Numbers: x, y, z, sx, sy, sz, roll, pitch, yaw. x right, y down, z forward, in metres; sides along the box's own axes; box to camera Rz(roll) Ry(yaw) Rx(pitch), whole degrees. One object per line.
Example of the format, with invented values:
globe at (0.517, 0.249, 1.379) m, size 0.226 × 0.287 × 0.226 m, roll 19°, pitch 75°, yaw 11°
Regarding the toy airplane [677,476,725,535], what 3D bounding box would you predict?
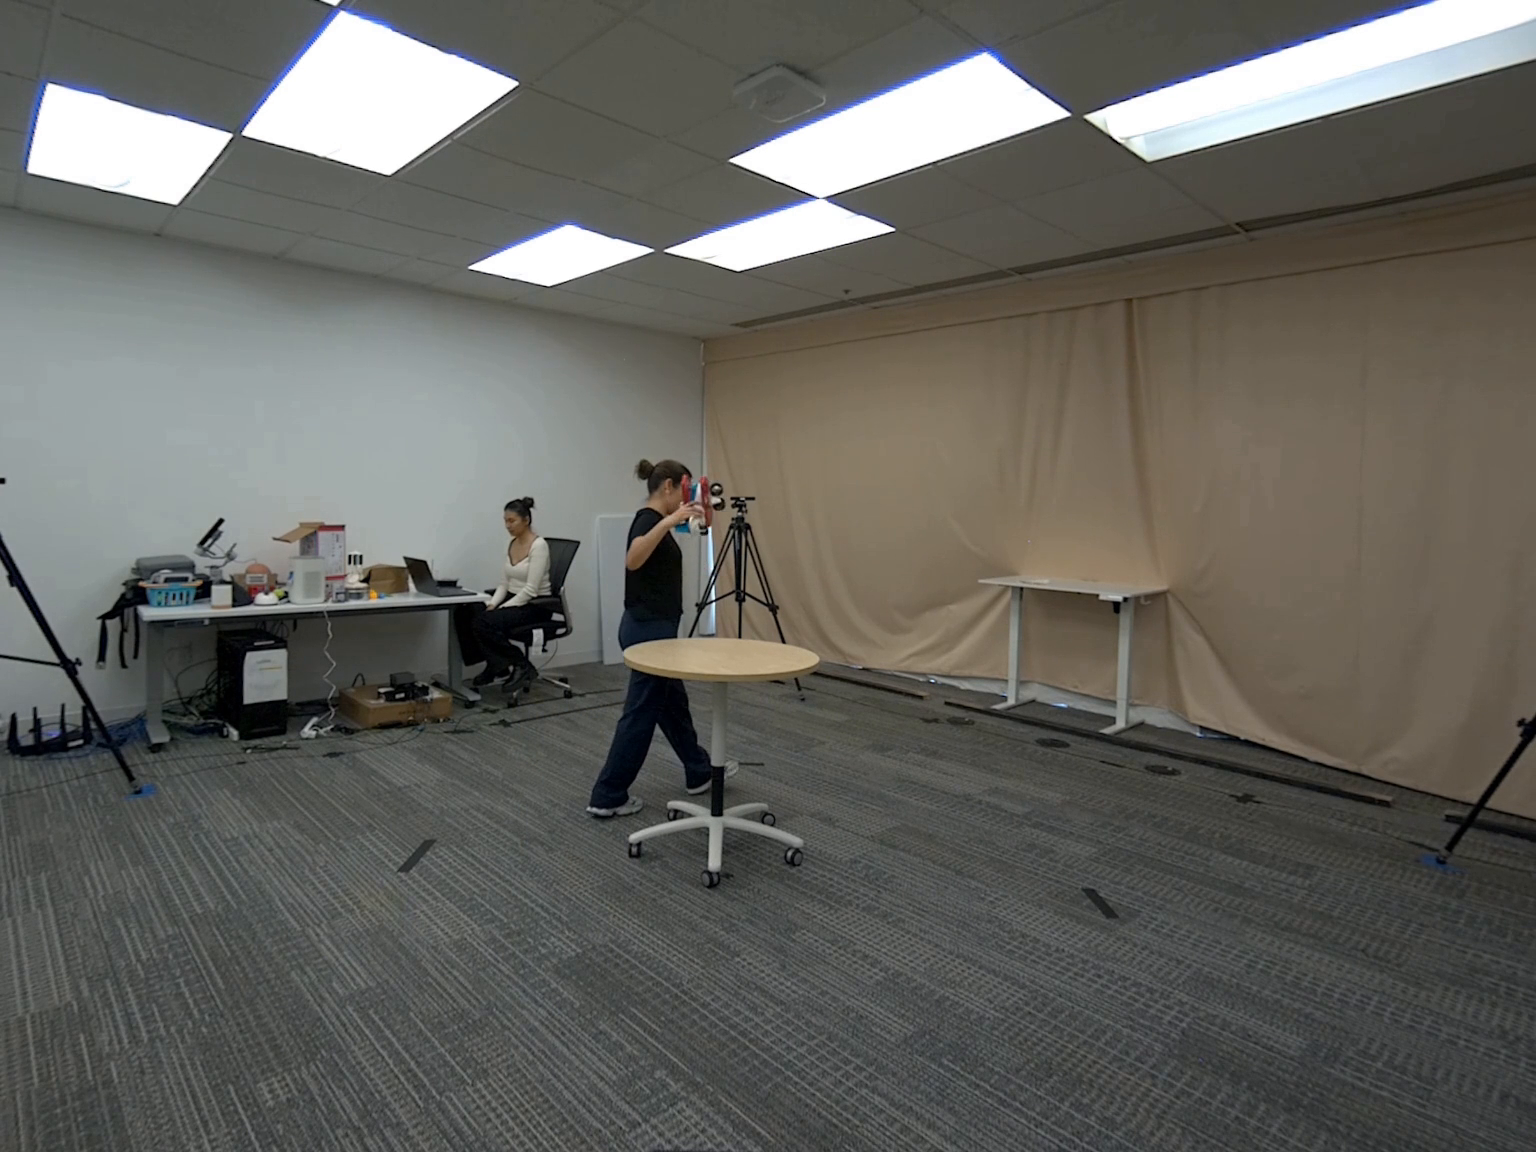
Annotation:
toy airplane at (-0.273, -0.267, 3.344) m, size 0.159 × 0.247 × 0.259 m, roll 13°, pitch 27°, yaw 16°
